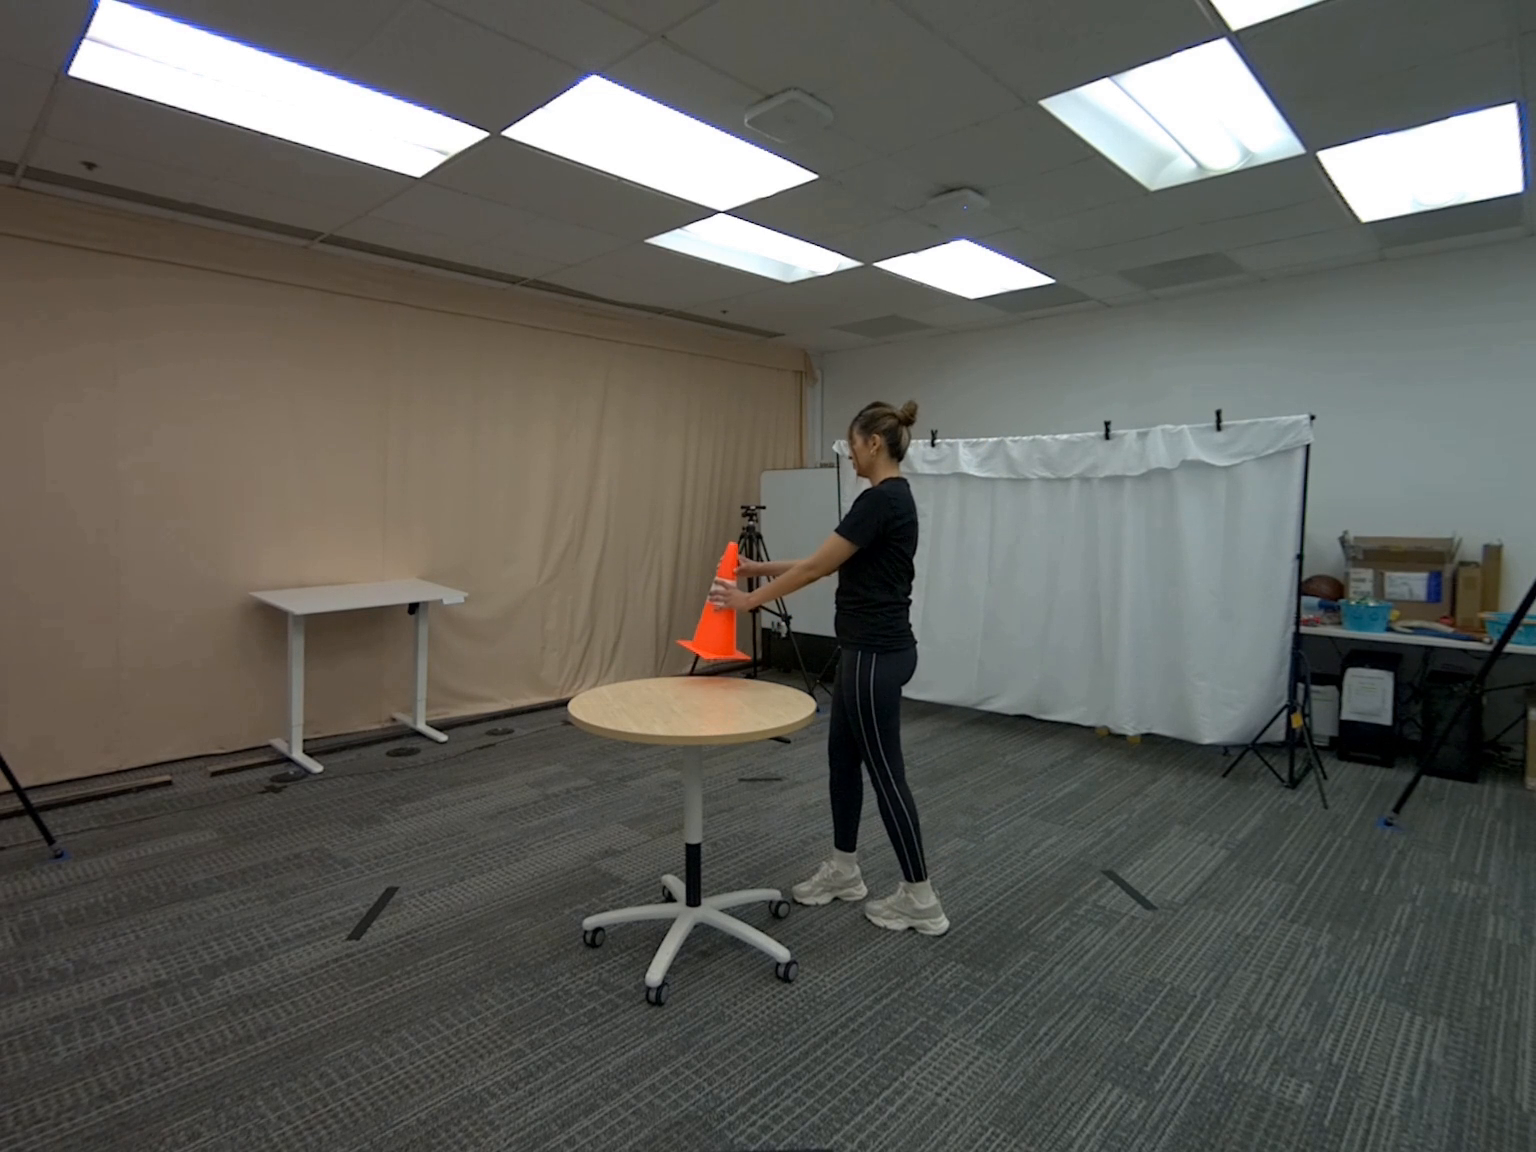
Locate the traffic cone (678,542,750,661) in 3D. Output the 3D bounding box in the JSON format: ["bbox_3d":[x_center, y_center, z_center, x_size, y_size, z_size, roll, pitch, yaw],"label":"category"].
[{"bbox_3d":[-0.147,0.077,2.915,0.199,0.383,0.210,6,5,-31],"label":"traffic cone"}]
